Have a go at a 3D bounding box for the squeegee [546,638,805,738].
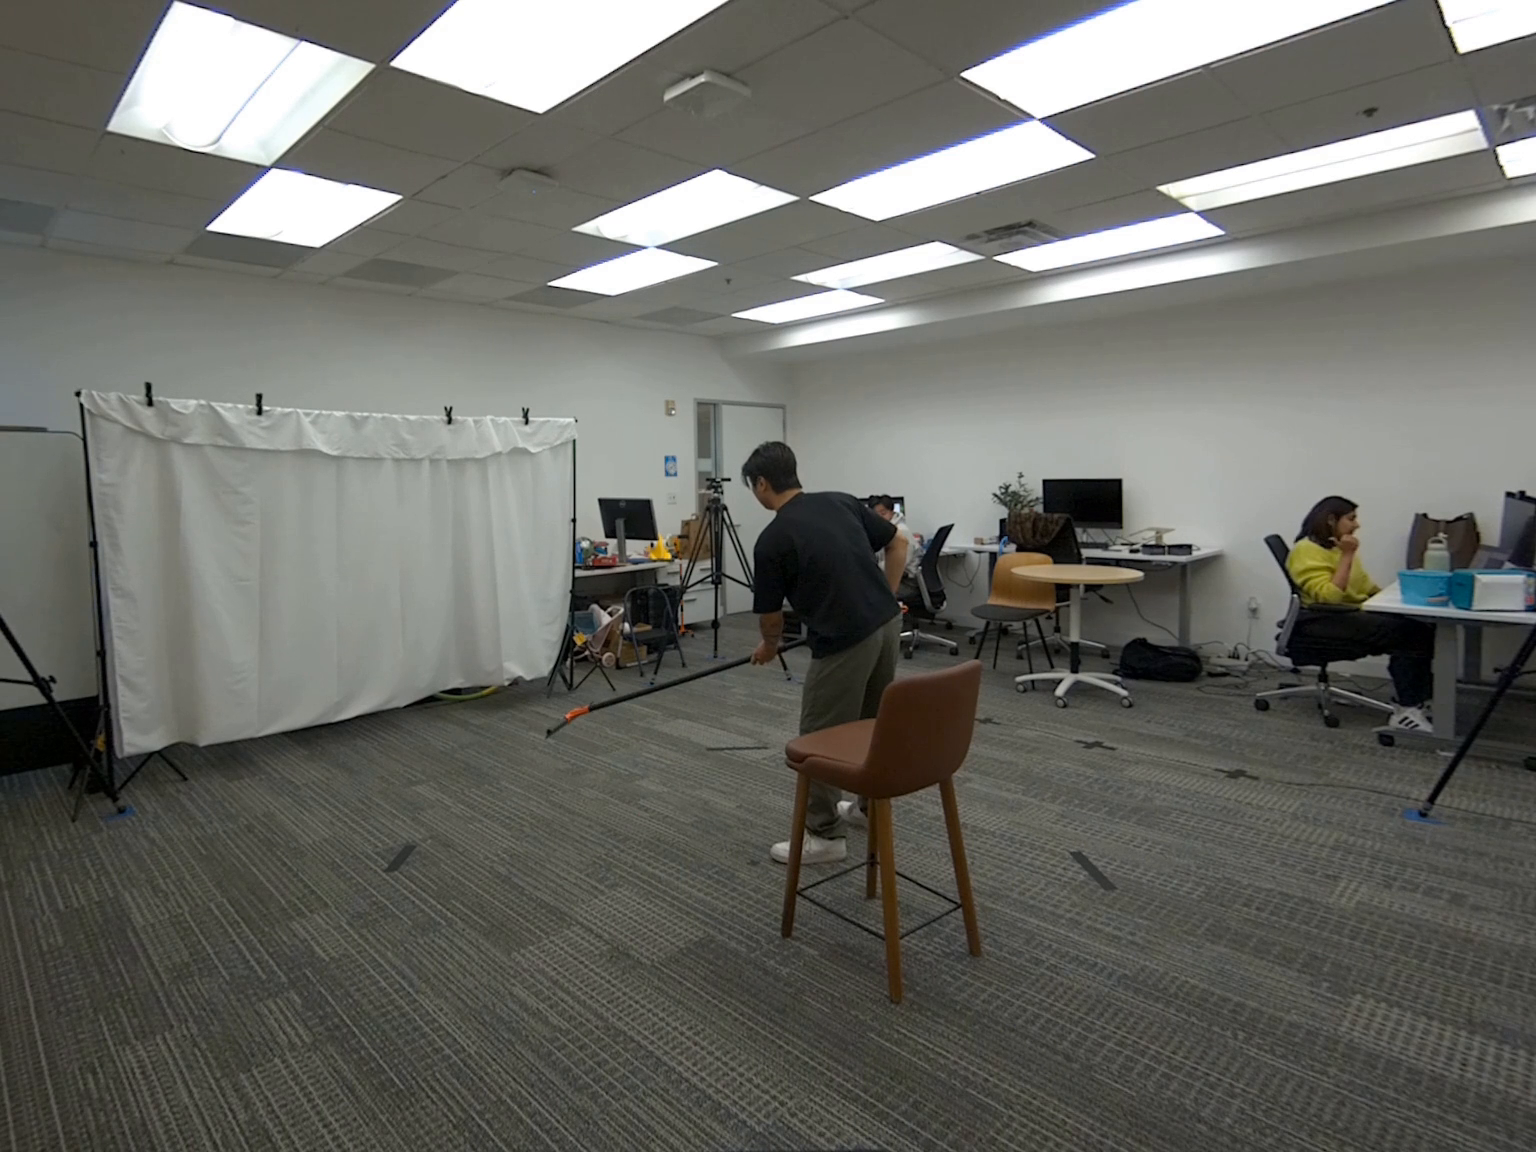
[{"bbox_3d":[-0.198,0.402,3.506,1.553,0.053,0.433,-18,2,16],"label":"squeegee"}]
